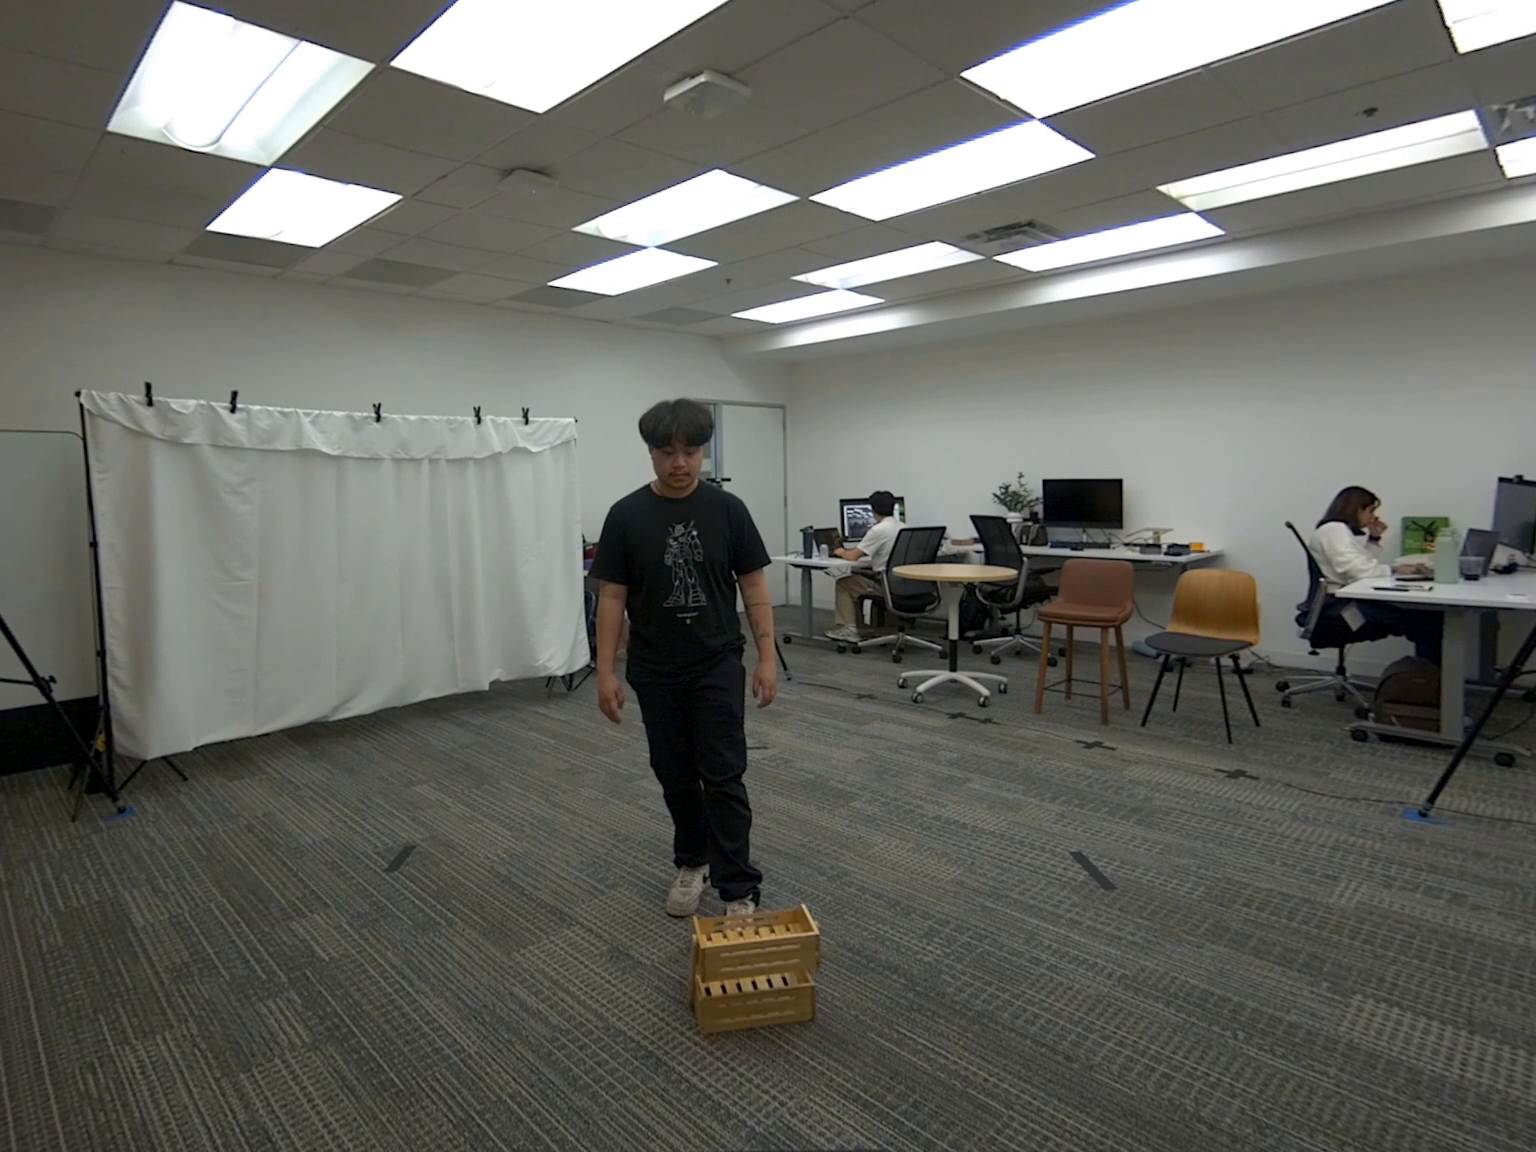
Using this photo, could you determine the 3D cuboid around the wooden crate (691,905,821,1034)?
[{"bbox_3d":[-0.042,1.006,2.279,0.321,0.272,0.307,-3,7,-11],"label":"wooden crate"}]
